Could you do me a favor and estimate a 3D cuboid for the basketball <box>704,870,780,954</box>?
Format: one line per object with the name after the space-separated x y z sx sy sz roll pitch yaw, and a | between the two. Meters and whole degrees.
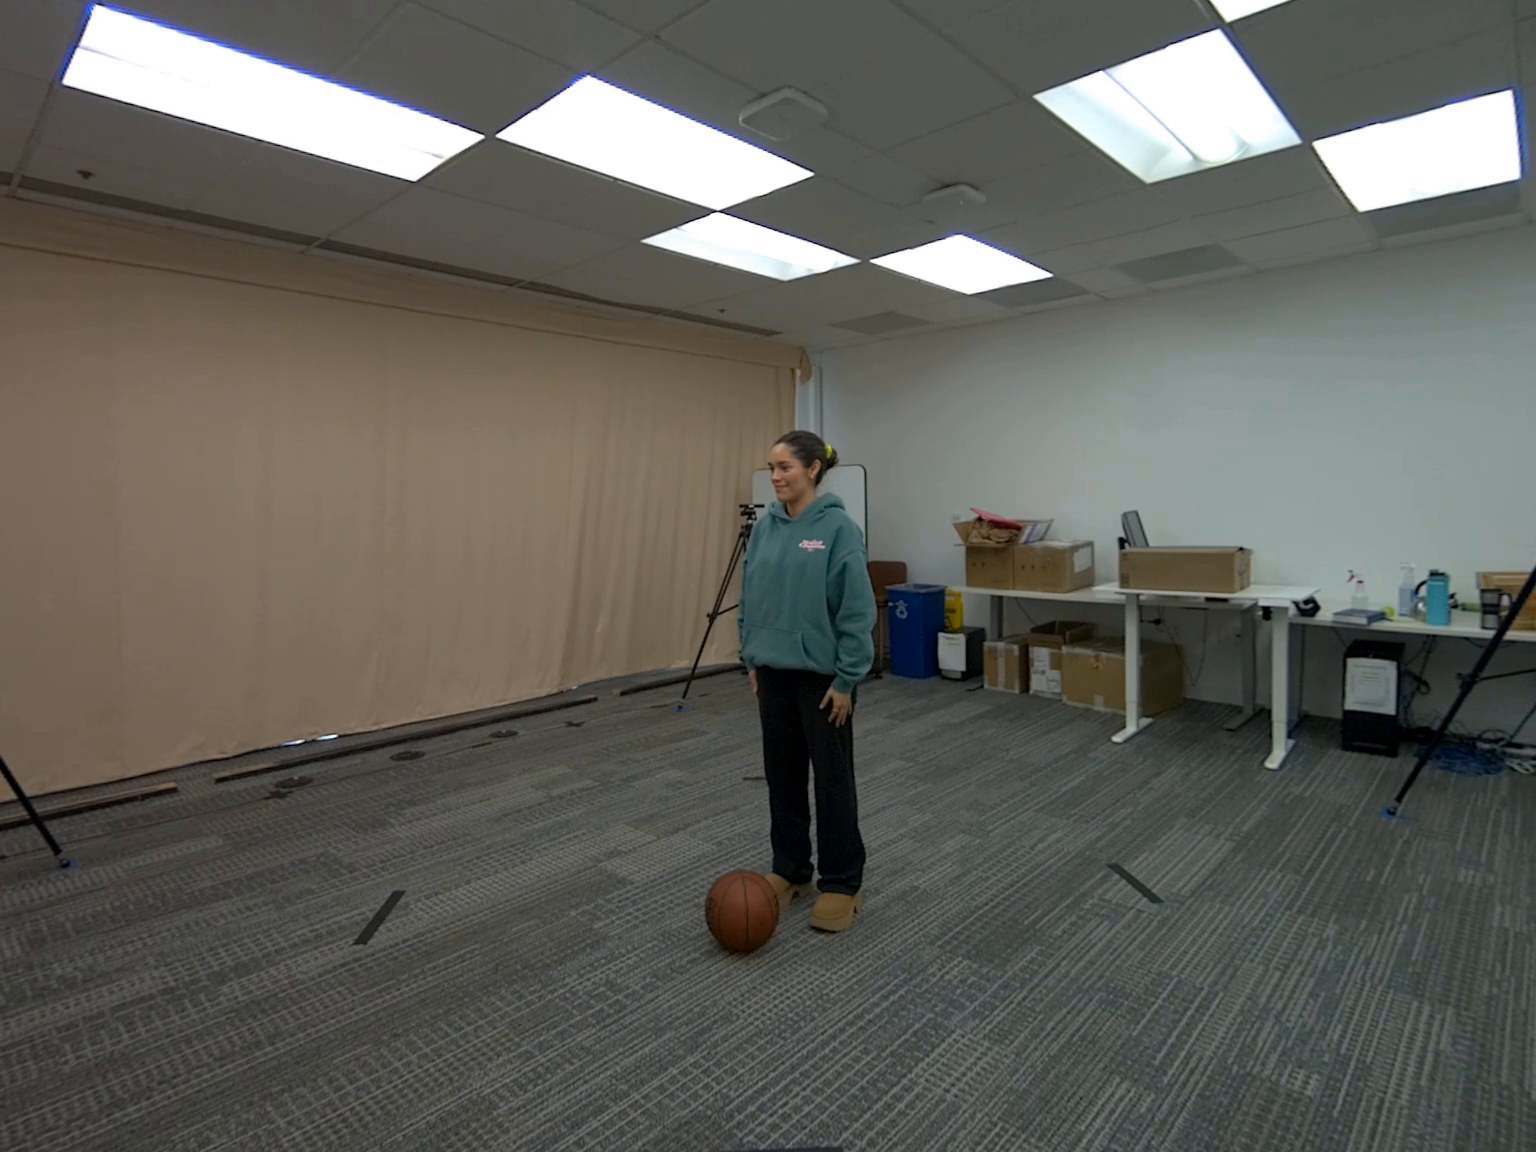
-0.079 1.052 2.649 0.236 0.235 0.237 -1 4 -2 | basketball
